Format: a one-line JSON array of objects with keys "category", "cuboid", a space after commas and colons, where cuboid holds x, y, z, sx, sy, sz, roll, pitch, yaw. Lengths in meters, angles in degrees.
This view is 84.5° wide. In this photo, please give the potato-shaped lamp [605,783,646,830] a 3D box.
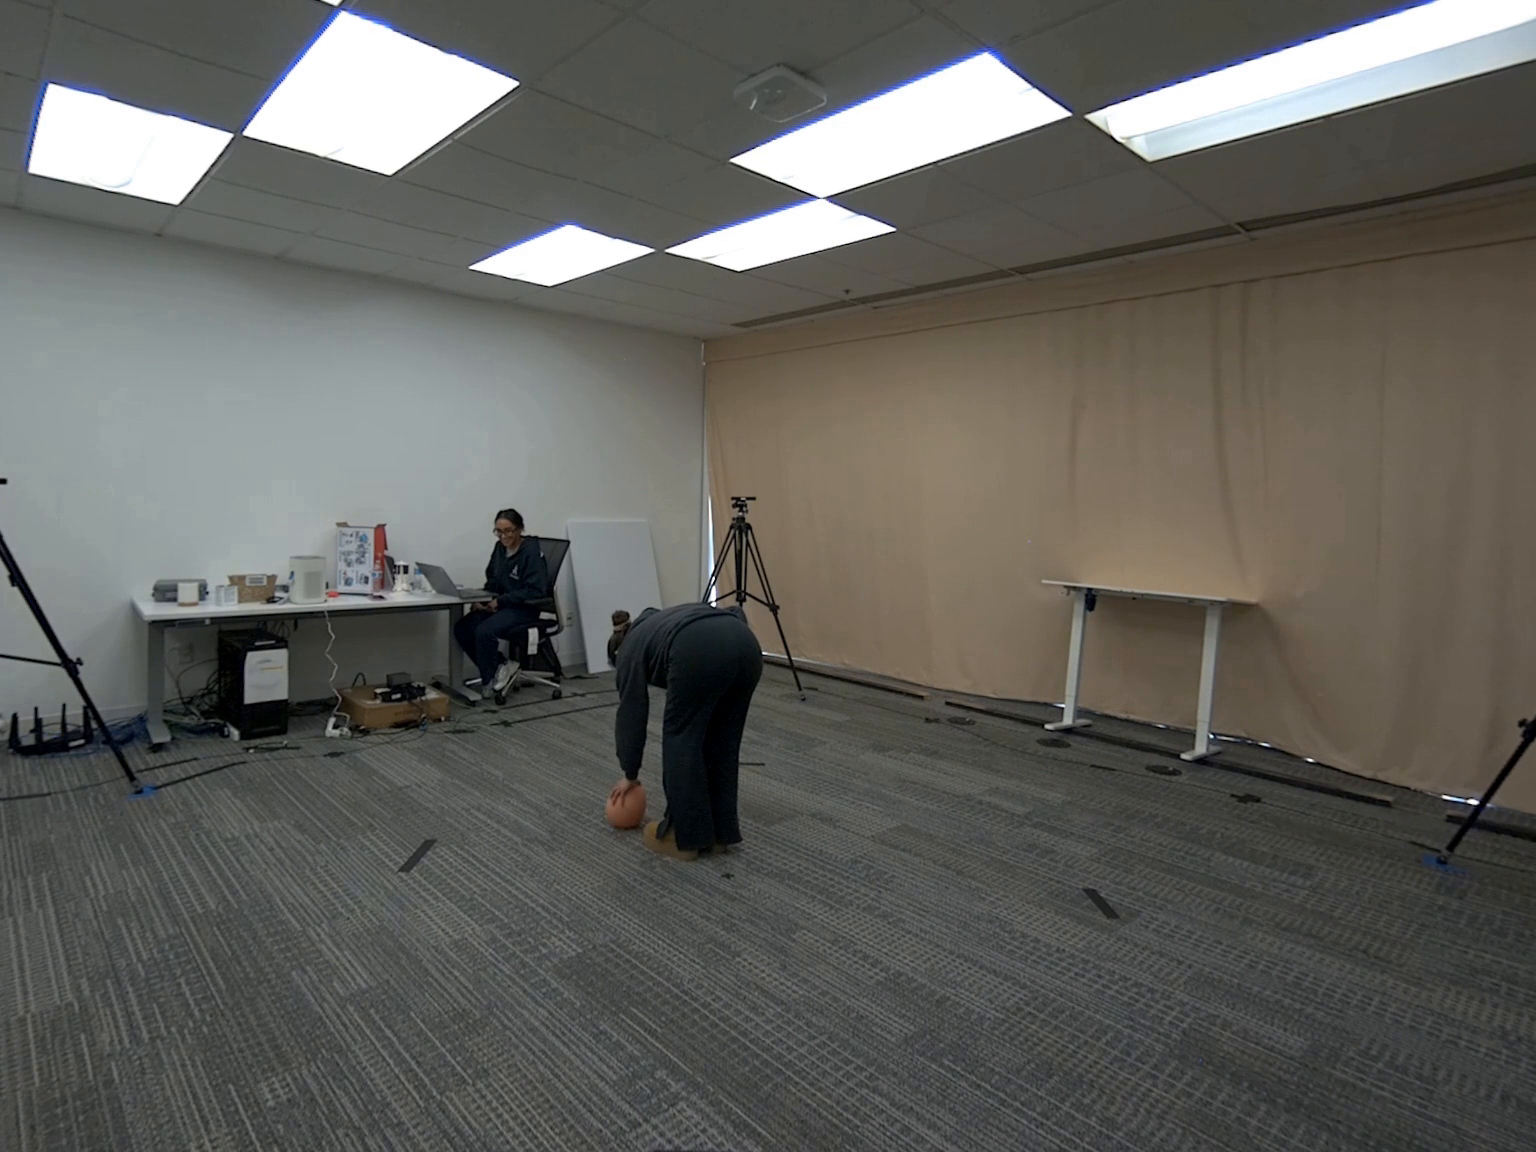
[{"category": "potato-shaped lamp", "cuboid": [-0.600, 0.950, 3.546, 0.161, 0.196, 0.176, 5, 29, -26]}]
